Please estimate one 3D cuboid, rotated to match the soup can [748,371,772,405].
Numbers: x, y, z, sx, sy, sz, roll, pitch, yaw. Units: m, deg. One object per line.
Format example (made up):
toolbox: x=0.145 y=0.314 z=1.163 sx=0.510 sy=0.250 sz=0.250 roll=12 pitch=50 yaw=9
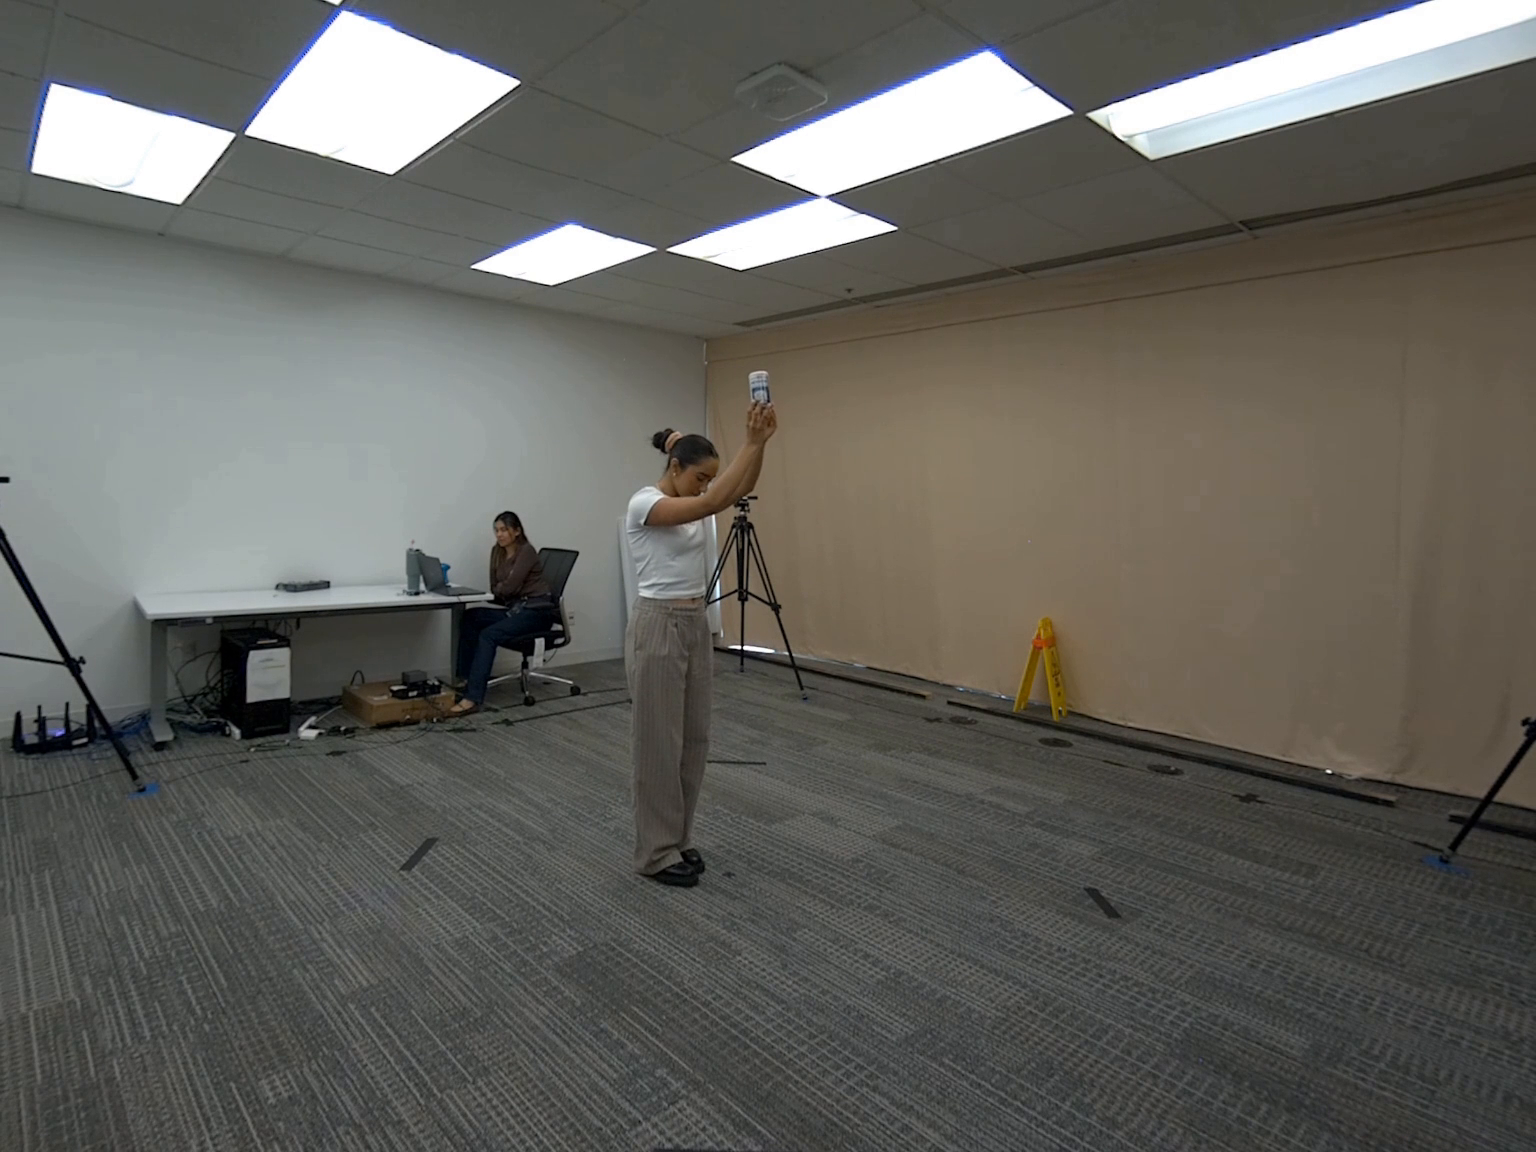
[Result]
soup can: x=-0.033 y=-0.624 z=2.830 sx=0.067 sy=0.122 sz=0.067 roll=-4 pitch=-3 yaw=-2
